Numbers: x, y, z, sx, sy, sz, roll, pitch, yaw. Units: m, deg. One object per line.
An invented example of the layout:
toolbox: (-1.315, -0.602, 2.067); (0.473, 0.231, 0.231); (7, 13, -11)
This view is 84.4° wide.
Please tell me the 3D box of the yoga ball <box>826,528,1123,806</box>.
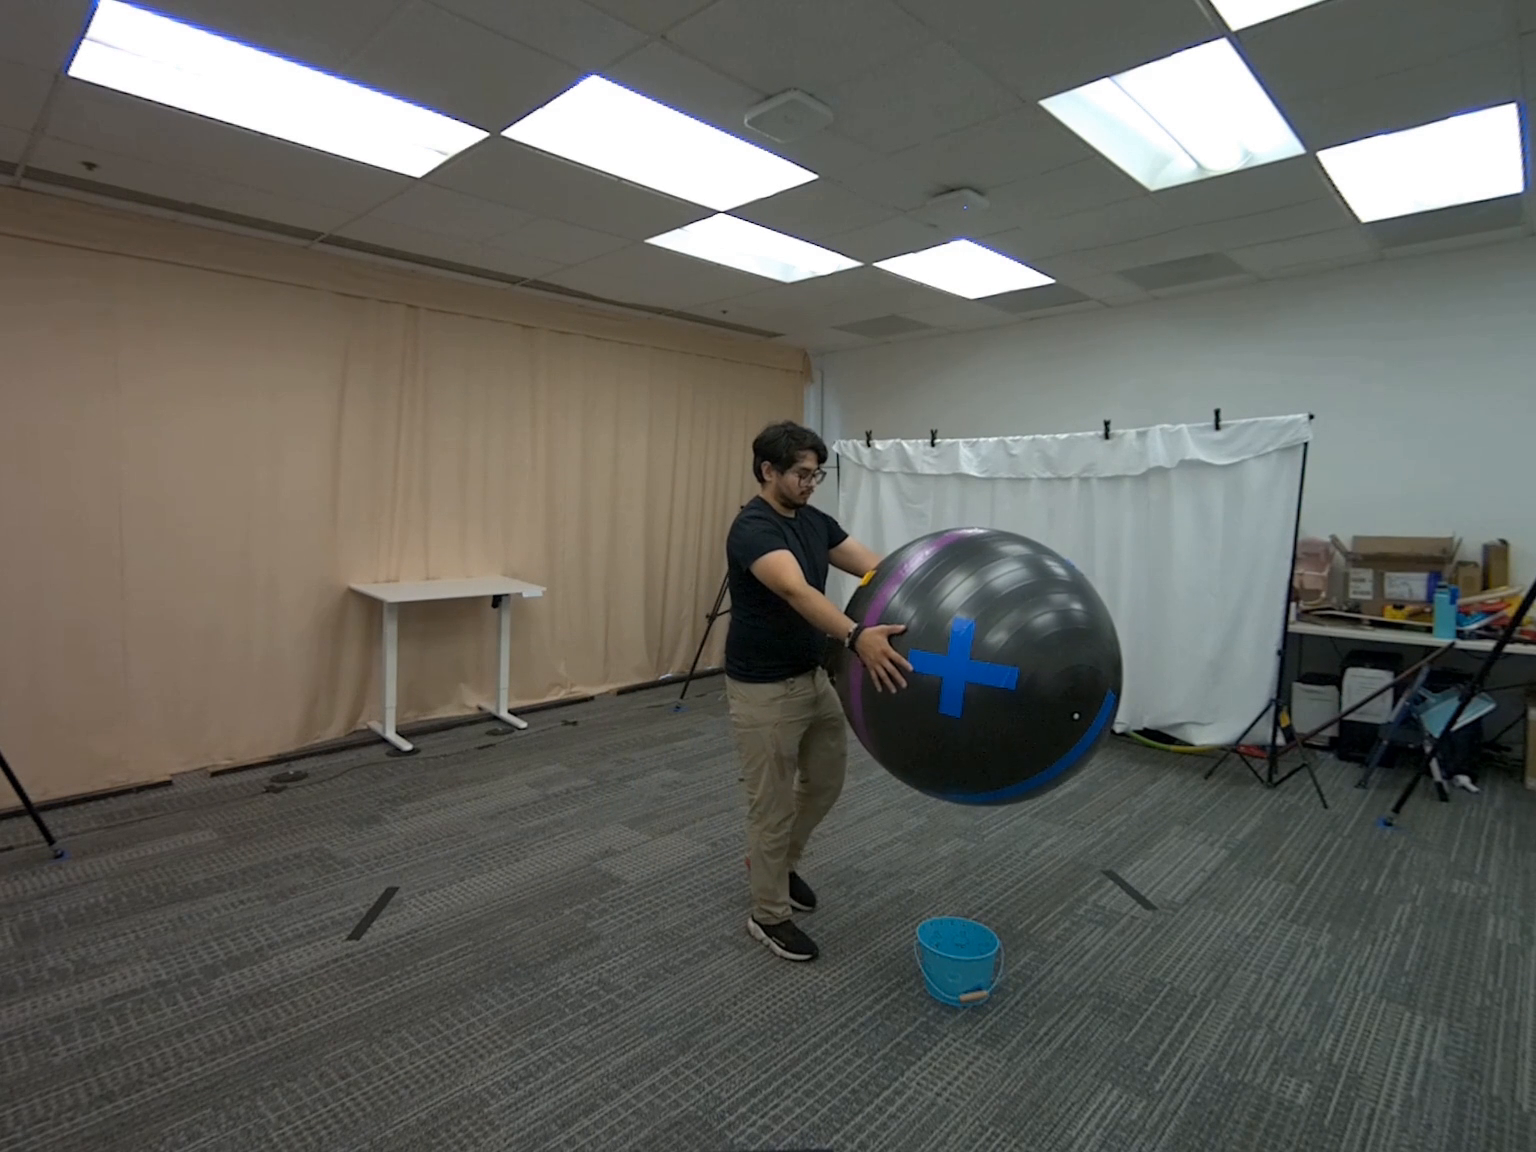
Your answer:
yoga ball: (0.581, 0.250, 2.326); (0.757, 0.756, 0.760); (0, 4, -2)
